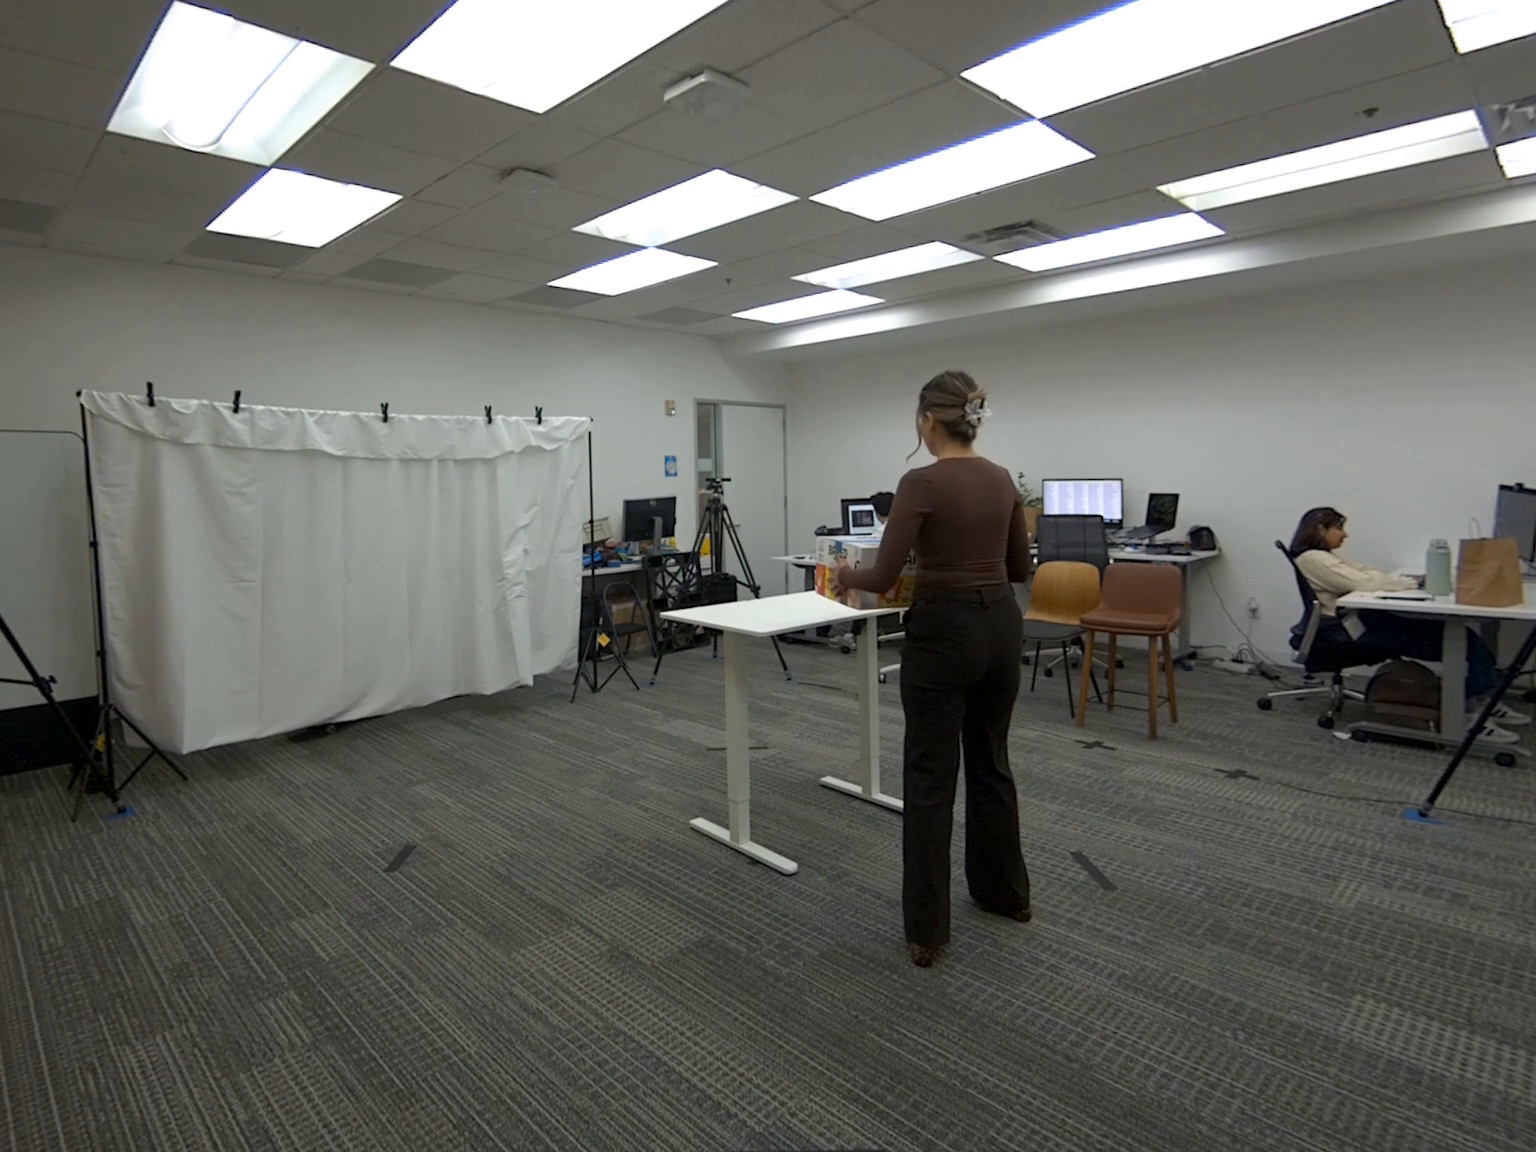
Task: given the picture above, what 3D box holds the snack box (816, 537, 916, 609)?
[{"bbox_3d":[0.421,-0.021,2.911,0.398,0.204,0.348,-2,8,-19],"label":"snack box"}]
